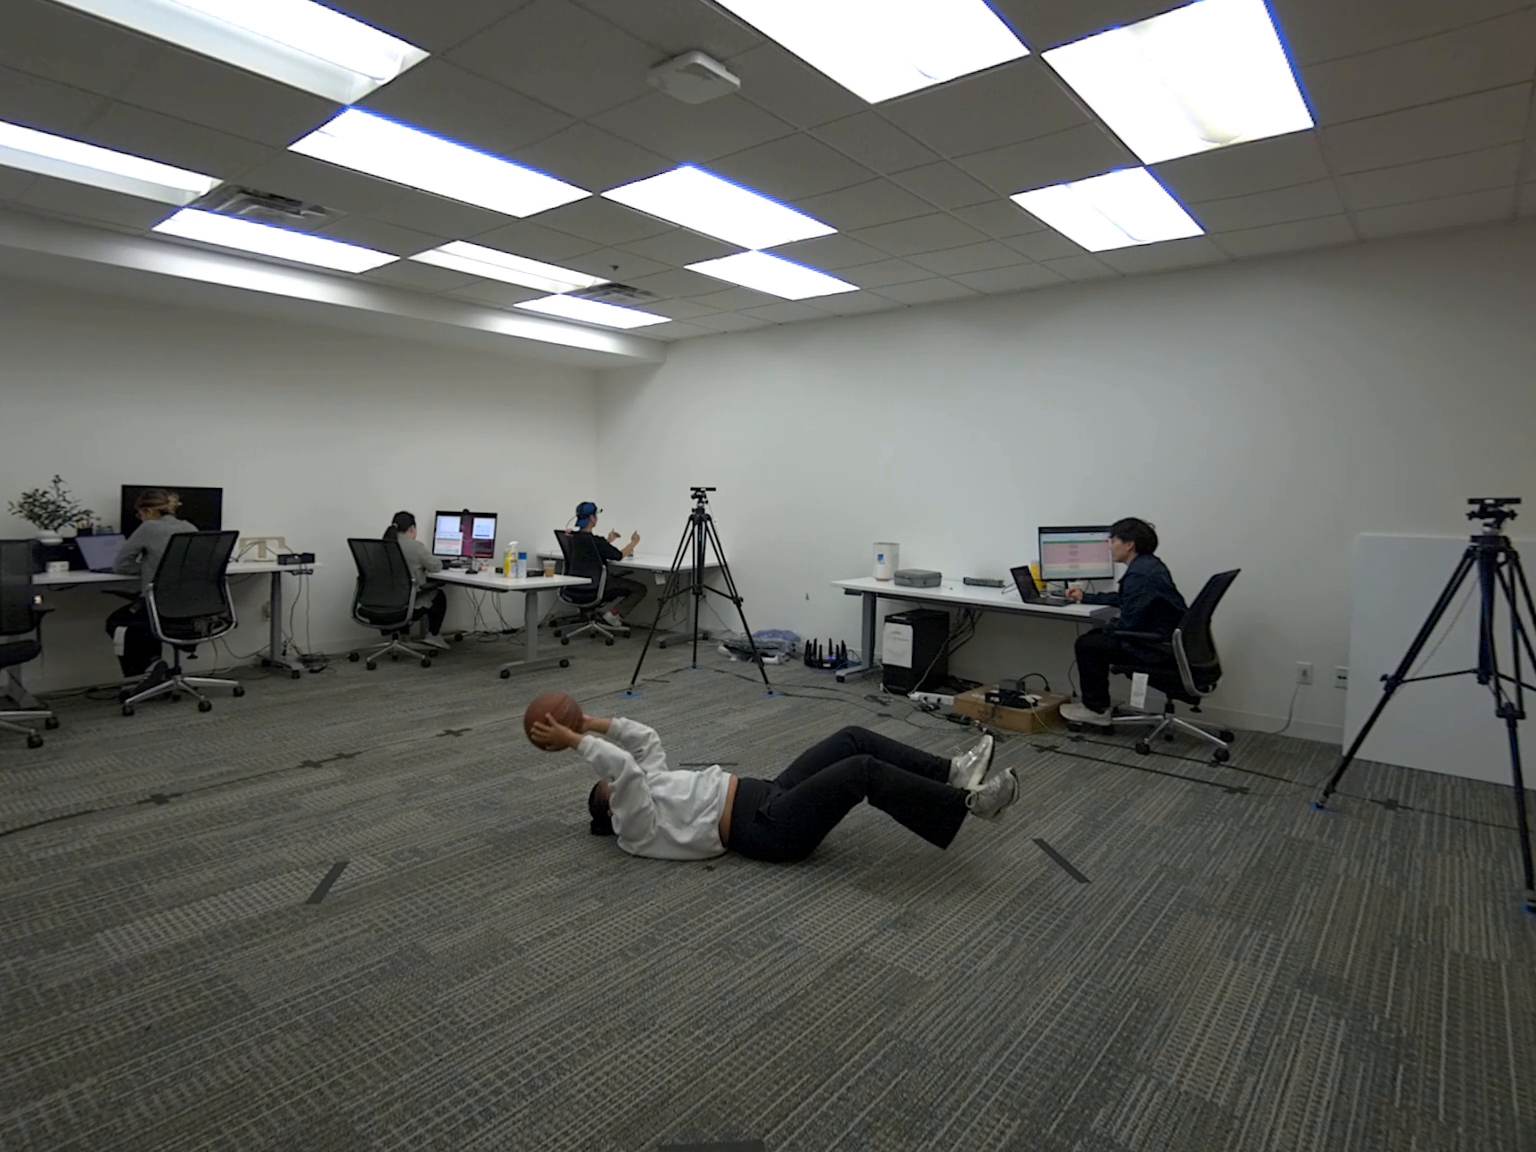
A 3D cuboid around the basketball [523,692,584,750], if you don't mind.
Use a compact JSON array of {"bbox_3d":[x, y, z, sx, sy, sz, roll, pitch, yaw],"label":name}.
[{"bbox_3d":[-0.861,0.594,3.444,0.236,0.235,0.237,0,4,-2],"label":"basketball"}]
